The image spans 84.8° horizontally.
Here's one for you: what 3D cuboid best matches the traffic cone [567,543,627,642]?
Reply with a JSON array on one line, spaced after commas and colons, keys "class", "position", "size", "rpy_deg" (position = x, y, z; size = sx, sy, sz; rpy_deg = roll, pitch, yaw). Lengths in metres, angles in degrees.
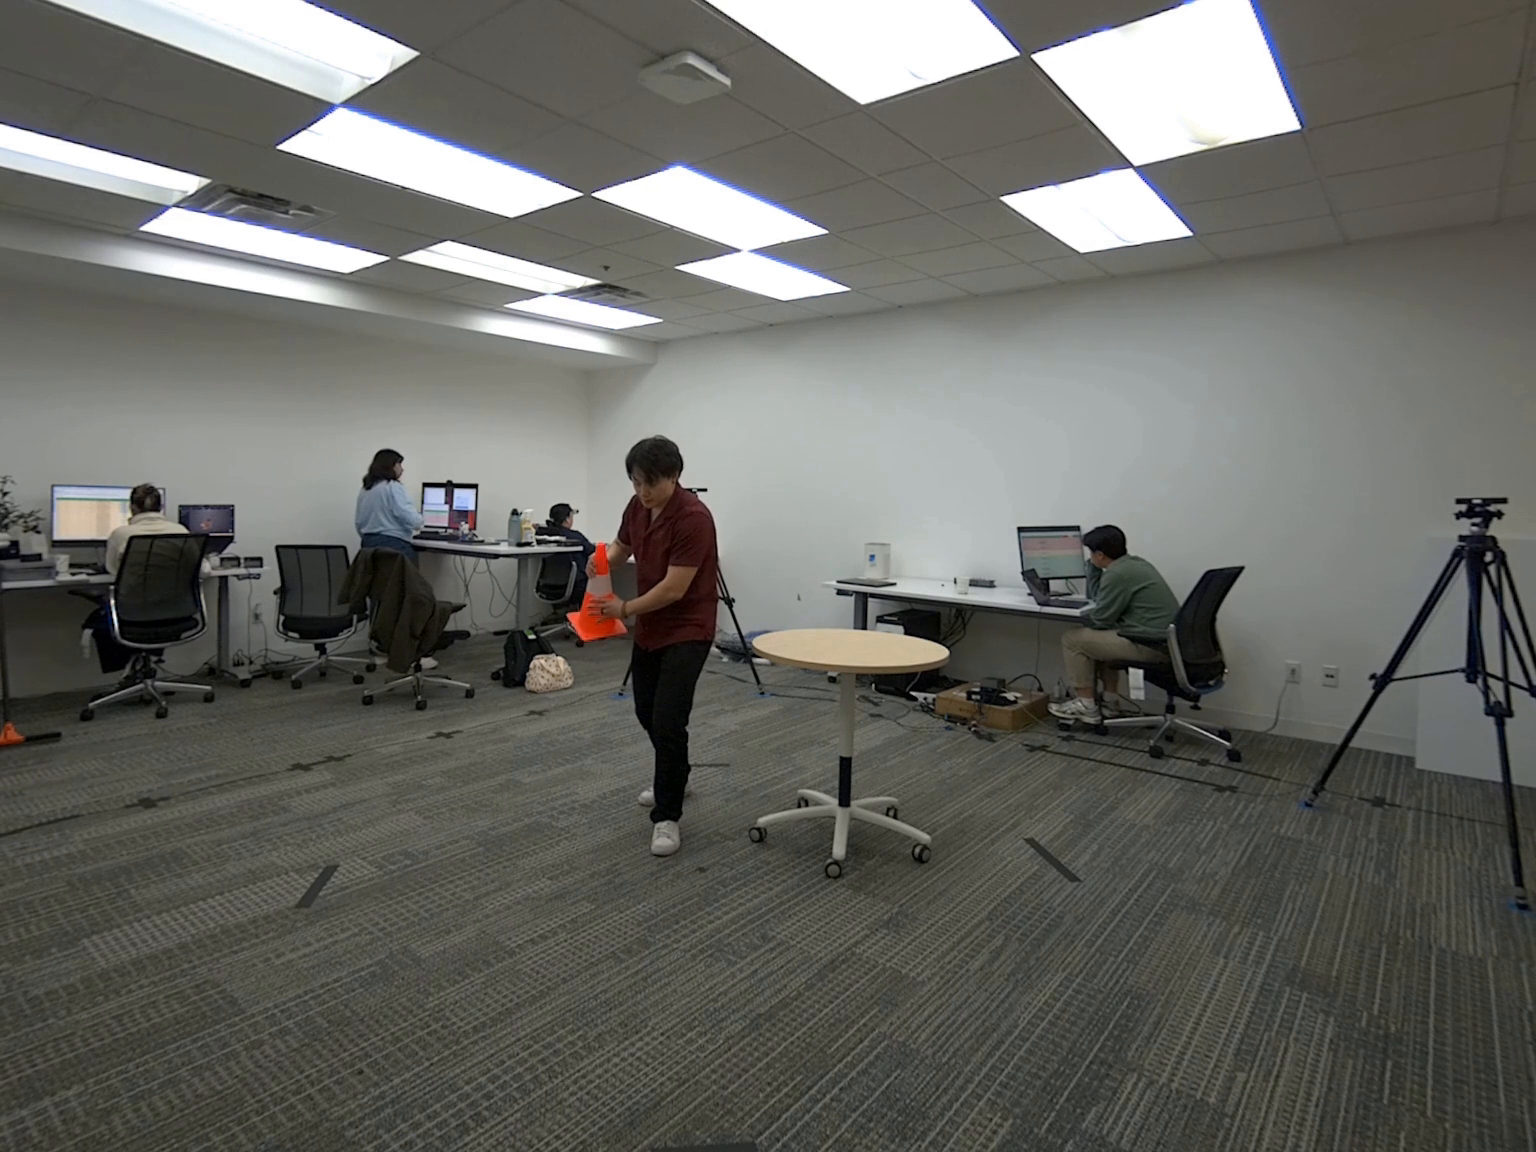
[{"class": "traffic cone", "position": [-0.695, 0.032, 3.450], "size": [0.200, 0.376, 0.212], "rpy_deg": [-11, 35, -33]}]
